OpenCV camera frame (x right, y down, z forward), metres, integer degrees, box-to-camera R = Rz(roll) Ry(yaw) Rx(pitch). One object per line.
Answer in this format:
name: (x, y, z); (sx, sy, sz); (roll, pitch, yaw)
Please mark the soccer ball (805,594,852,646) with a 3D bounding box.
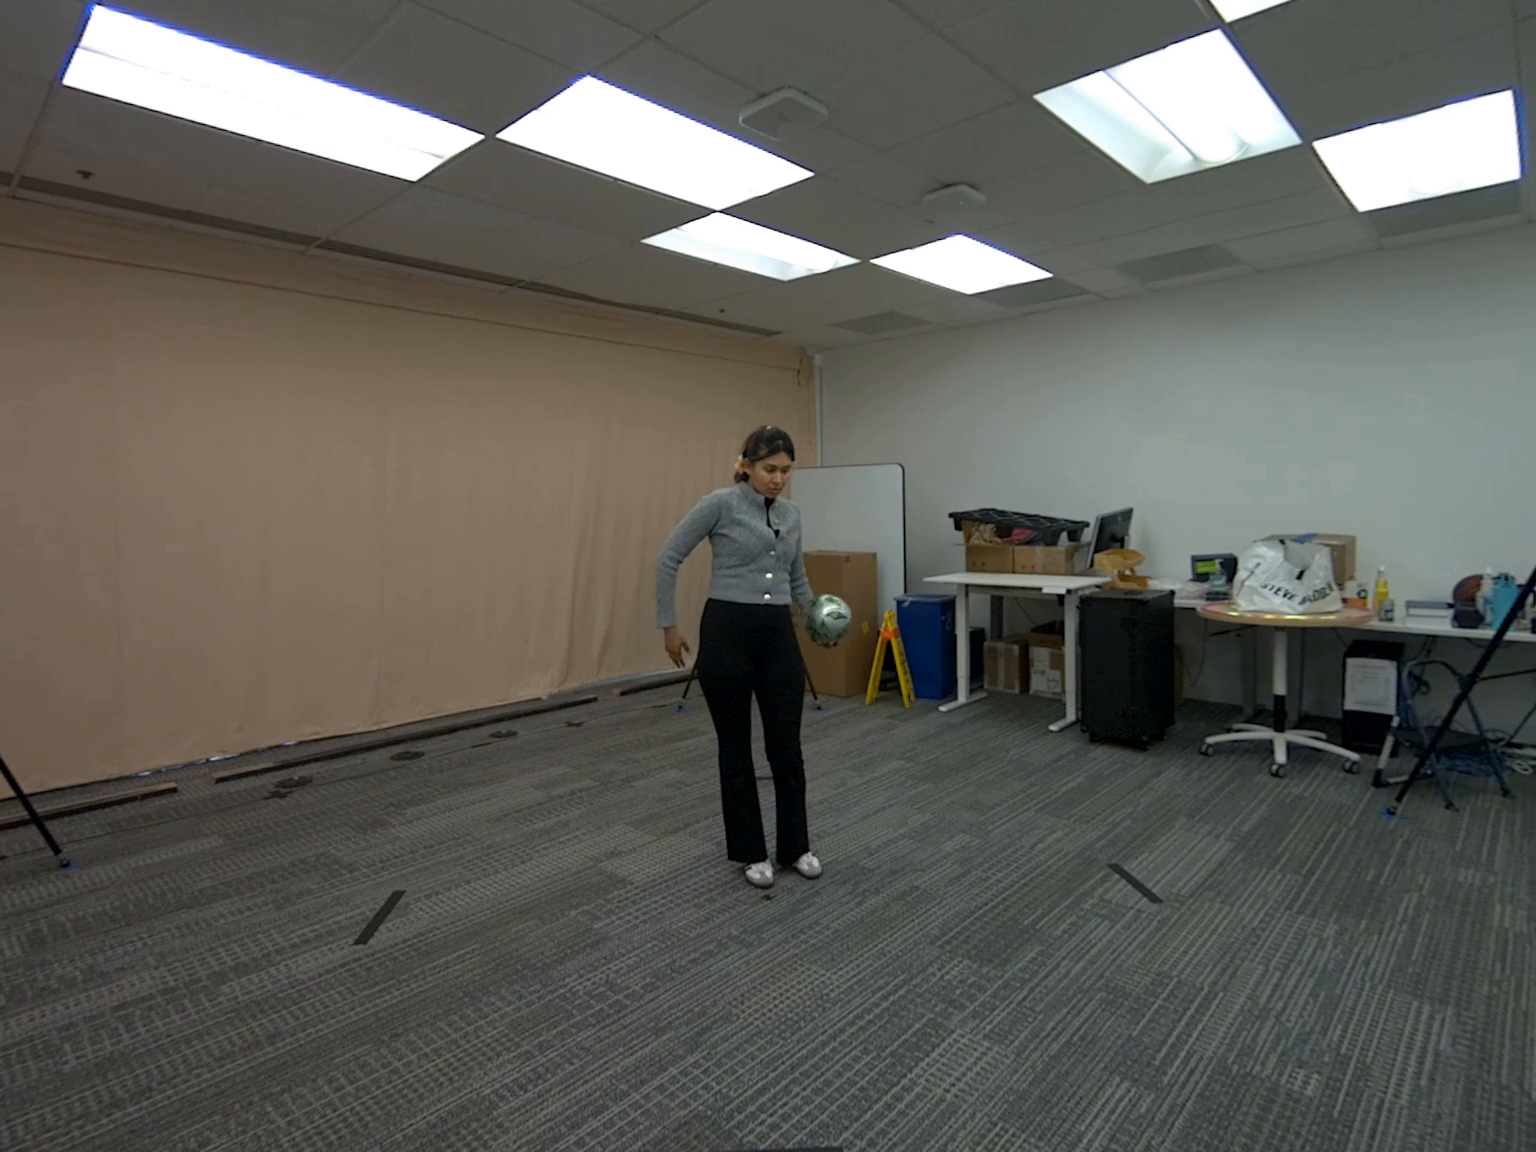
soccer ball: (0.221, 0.156, 3.196); (0.187, 0.187, 0.188); (-1, 4, -2)
